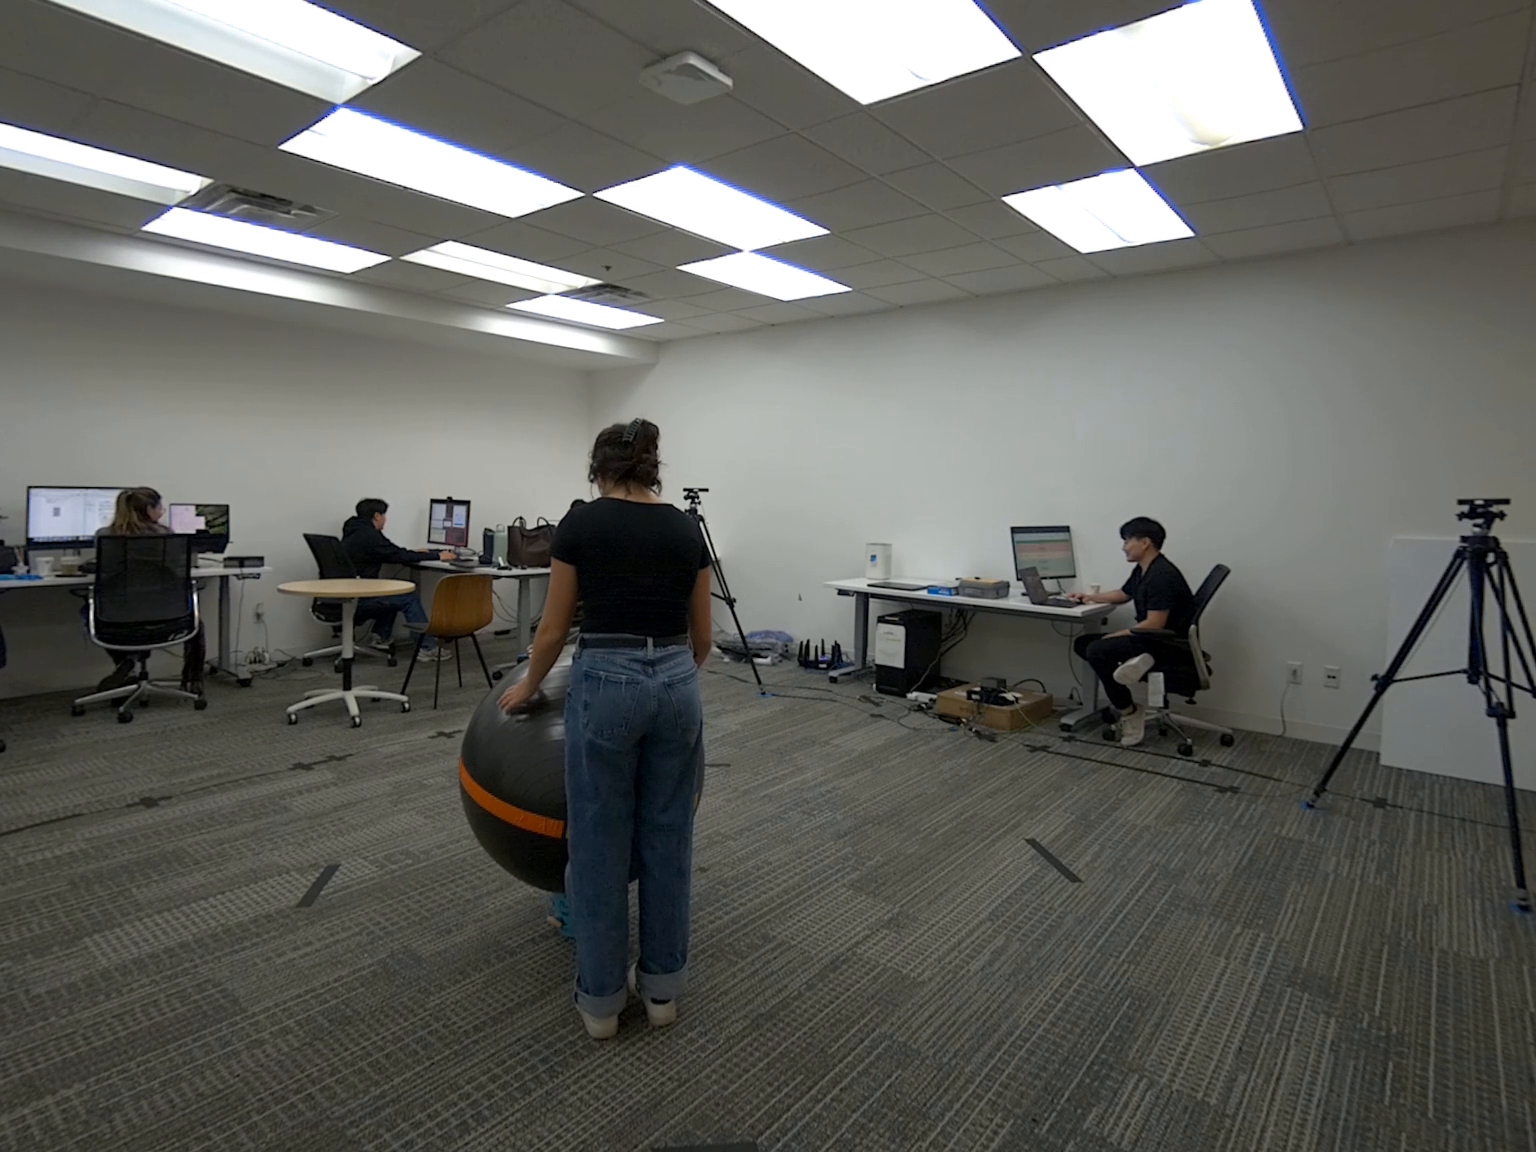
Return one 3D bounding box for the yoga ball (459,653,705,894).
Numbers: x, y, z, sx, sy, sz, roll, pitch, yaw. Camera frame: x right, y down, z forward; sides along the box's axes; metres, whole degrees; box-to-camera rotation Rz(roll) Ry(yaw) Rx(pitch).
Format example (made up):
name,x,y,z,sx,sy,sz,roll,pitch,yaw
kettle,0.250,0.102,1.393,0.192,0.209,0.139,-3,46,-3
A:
name,x,y,z,sx,sy,sz,roll,pitch,yaw
yoga ball,-0.590,0.599,2.682,0.757,0.756,0.762,1,4,-2
